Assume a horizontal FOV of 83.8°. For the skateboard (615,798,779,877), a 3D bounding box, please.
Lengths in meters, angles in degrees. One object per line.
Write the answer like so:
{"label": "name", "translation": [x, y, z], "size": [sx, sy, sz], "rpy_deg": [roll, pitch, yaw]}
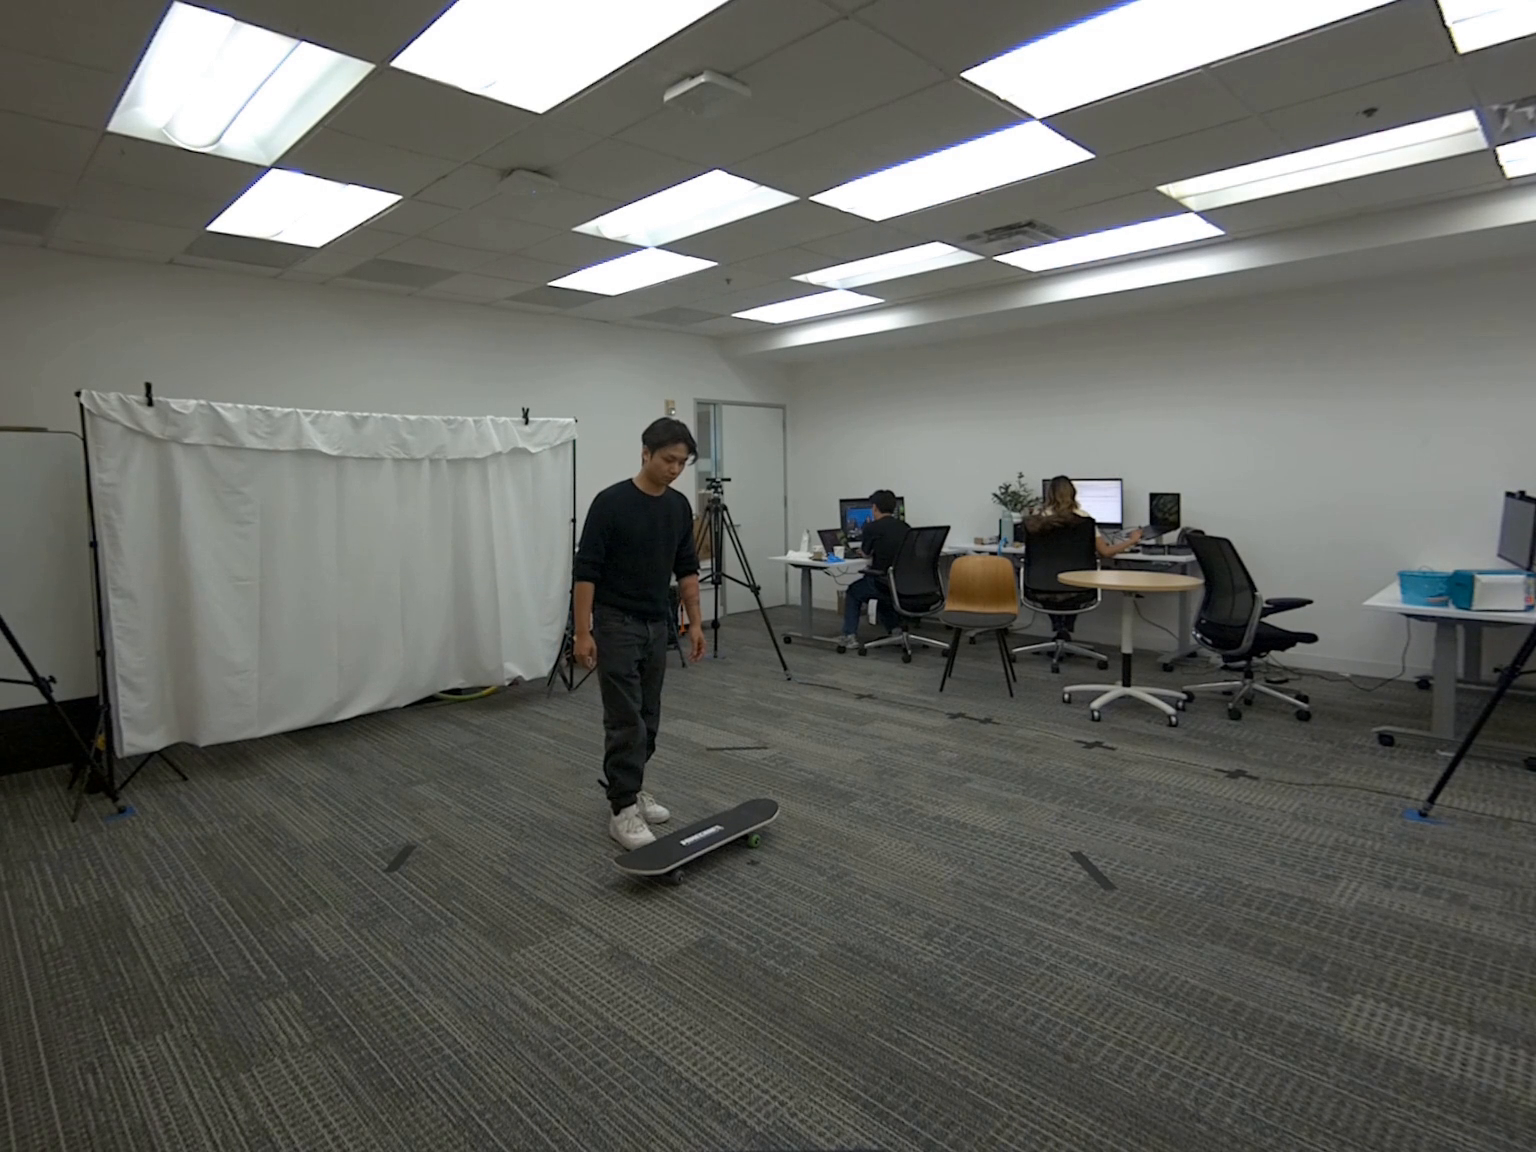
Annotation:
{"label": "skateboard", "translation": [-0.242, 0.980, 3.149], "size": [0.199, 0.110, 0.765], "rpy_deg": [5, 9, 41]}
